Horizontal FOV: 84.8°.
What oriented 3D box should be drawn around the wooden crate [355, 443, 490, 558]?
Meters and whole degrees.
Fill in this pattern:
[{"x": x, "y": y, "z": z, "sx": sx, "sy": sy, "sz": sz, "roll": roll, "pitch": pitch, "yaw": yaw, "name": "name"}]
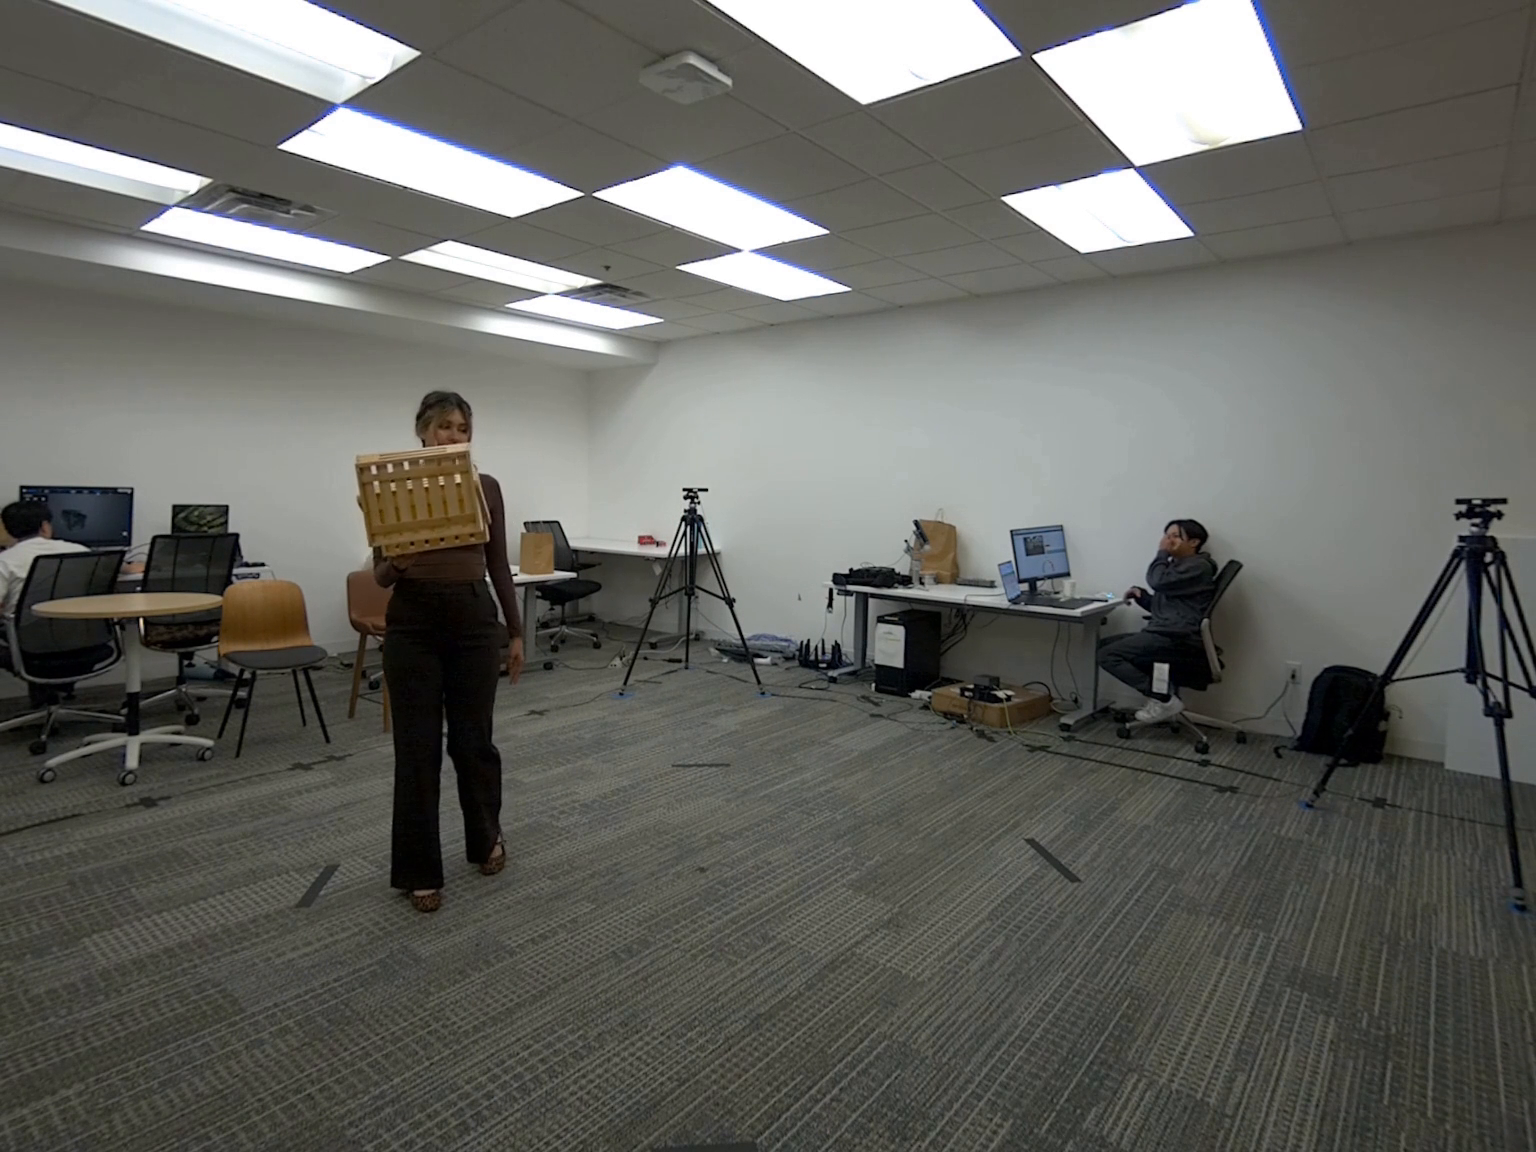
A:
[{"x": -1.008, "y": -0.221, "z": 2.466, "sx": 0.321, "sy": 0.299, "sz": 0.279, "roll": -8, "pitch": 10, "yaw": -13, "name": "wooden crate"}]
